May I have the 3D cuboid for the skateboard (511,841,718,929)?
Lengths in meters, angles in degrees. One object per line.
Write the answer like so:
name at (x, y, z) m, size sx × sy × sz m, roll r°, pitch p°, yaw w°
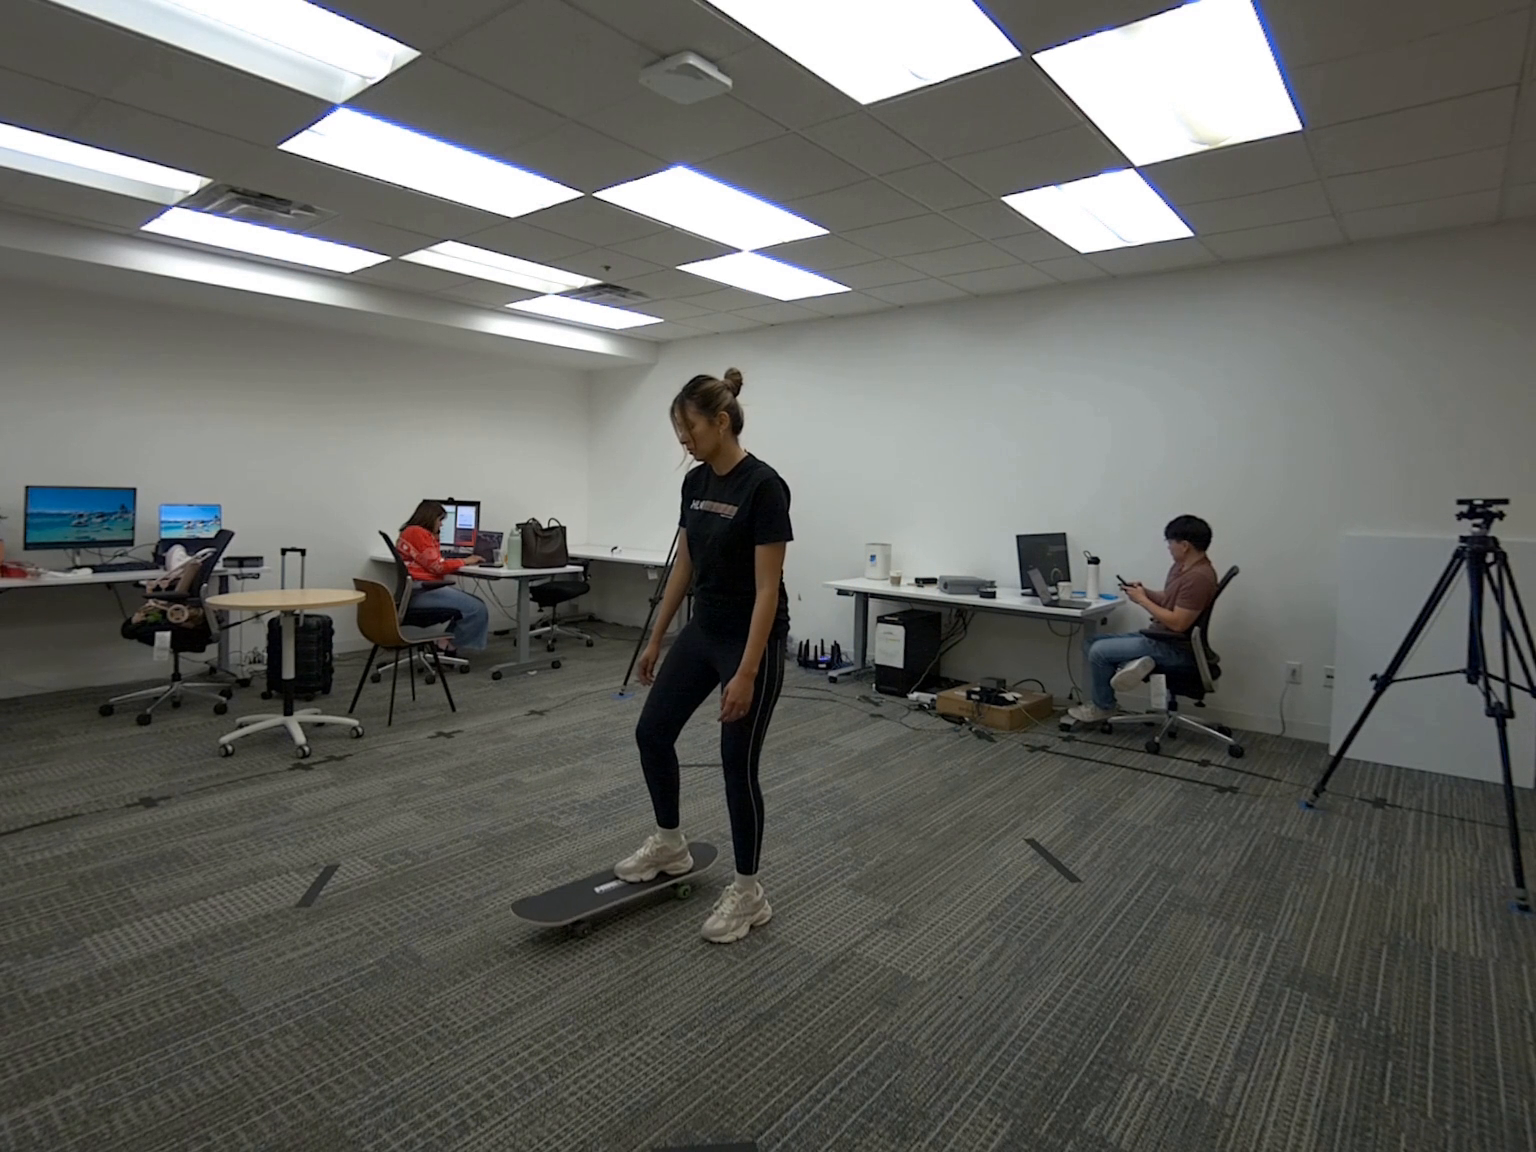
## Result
skateboard at (-0.484, 1.040, 2.807) m, size 0.762 × 0.110 × 0.200 m, roll -5°, pitch 8°, yaw -42°
